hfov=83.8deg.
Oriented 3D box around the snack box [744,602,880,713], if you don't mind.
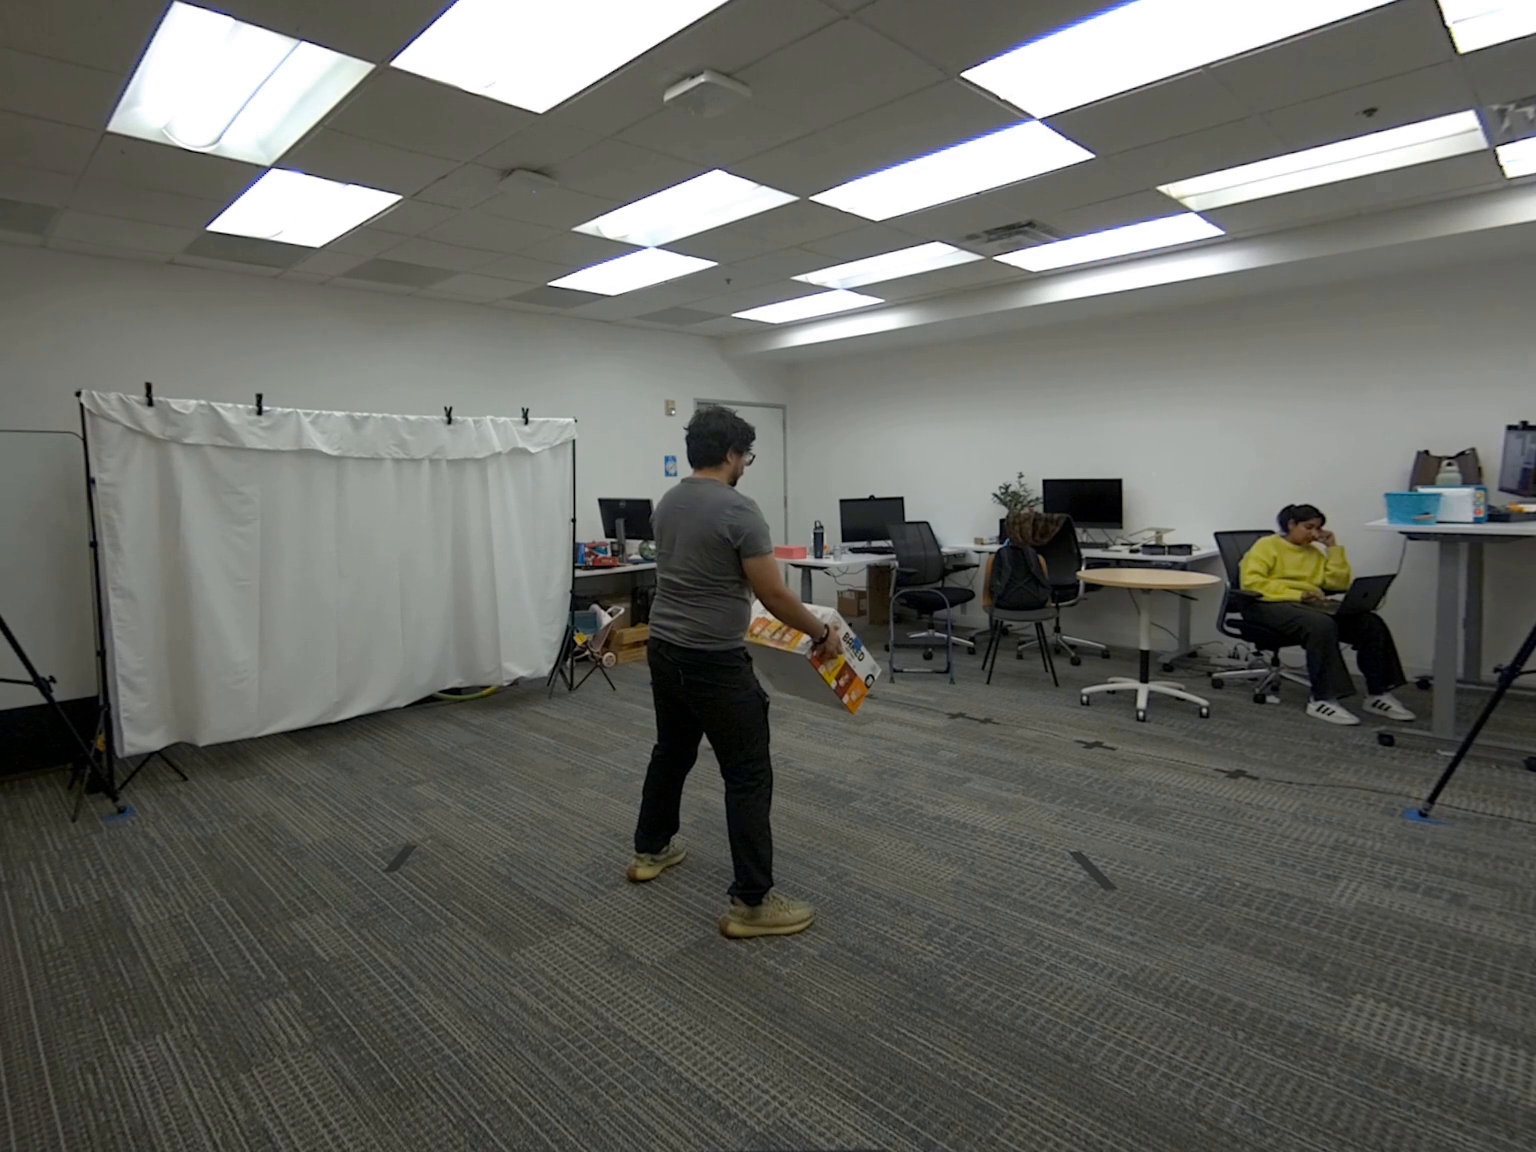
[{"bbox_3d":[0.137,0.281,3.114,0.418,0.329,0.206,7,52,50],"label":"snack box"}]
